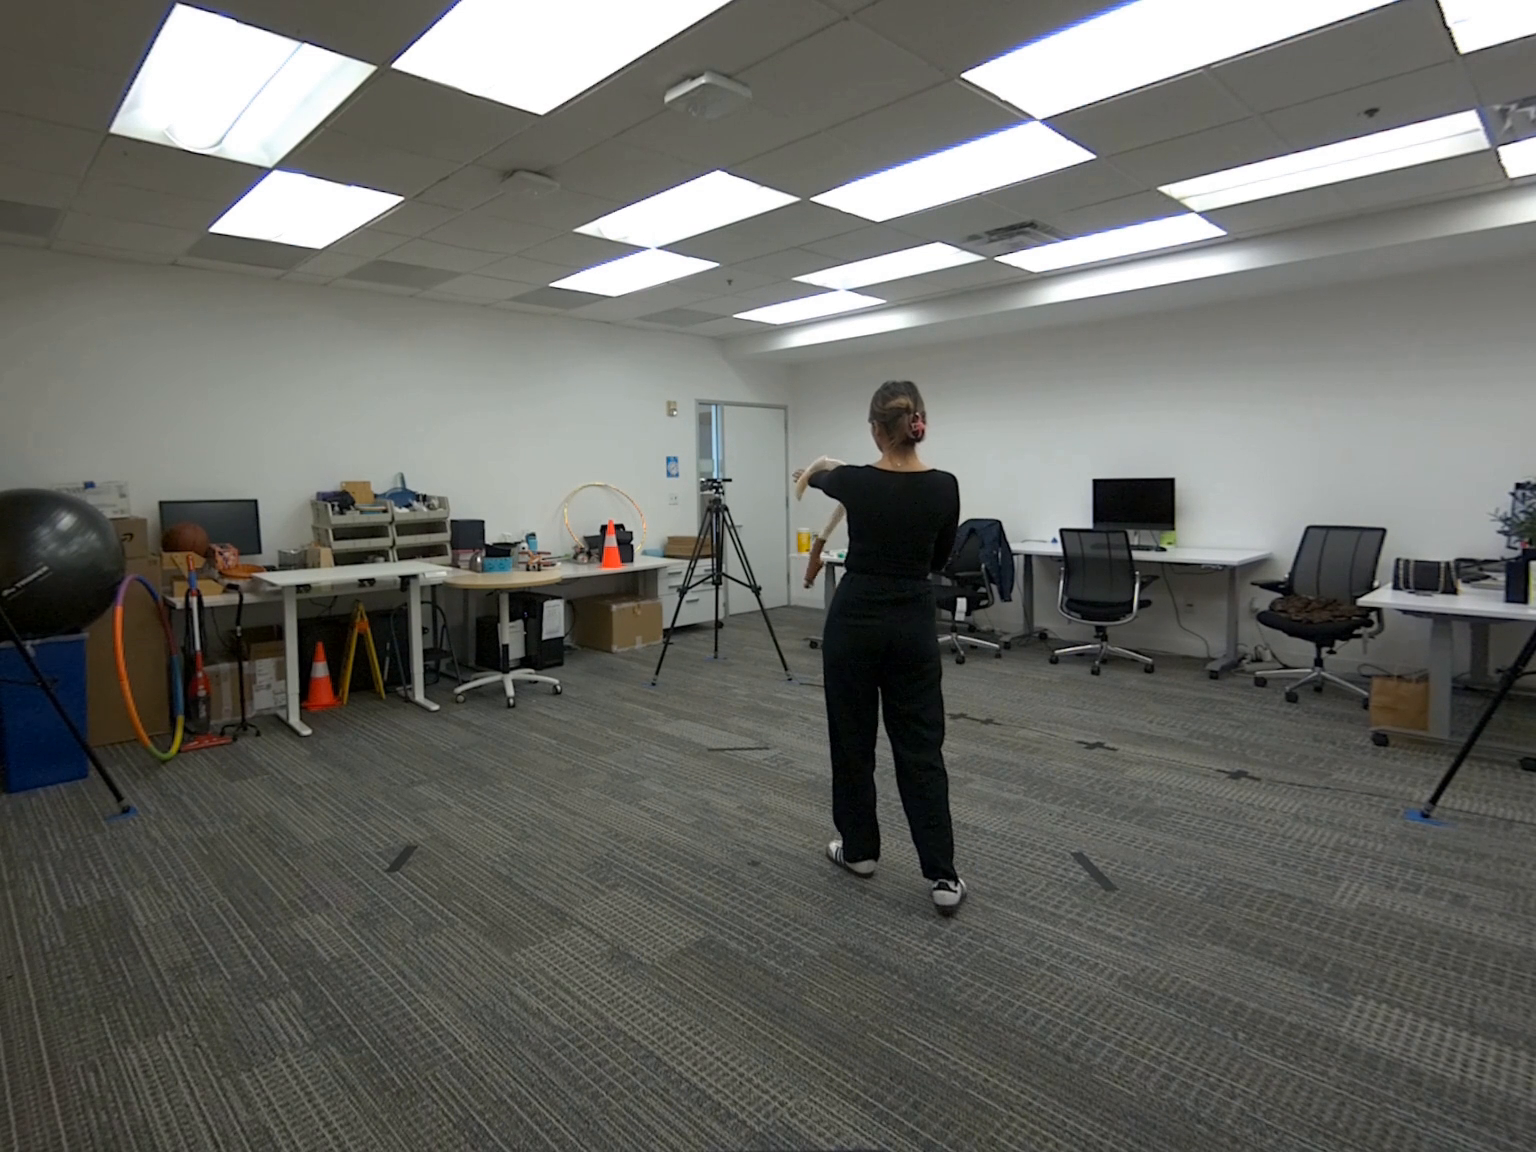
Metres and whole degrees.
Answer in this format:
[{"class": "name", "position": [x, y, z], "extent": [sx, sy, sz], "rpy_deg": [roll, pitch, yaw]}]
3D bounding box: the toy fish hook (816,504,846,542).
[{"class": "toy fish hook", "position": [0.188, -0.209, 3.299], "extent": [0.226, 0.507, 0.048], "rpy_deg": [12, -1, 4]}]
